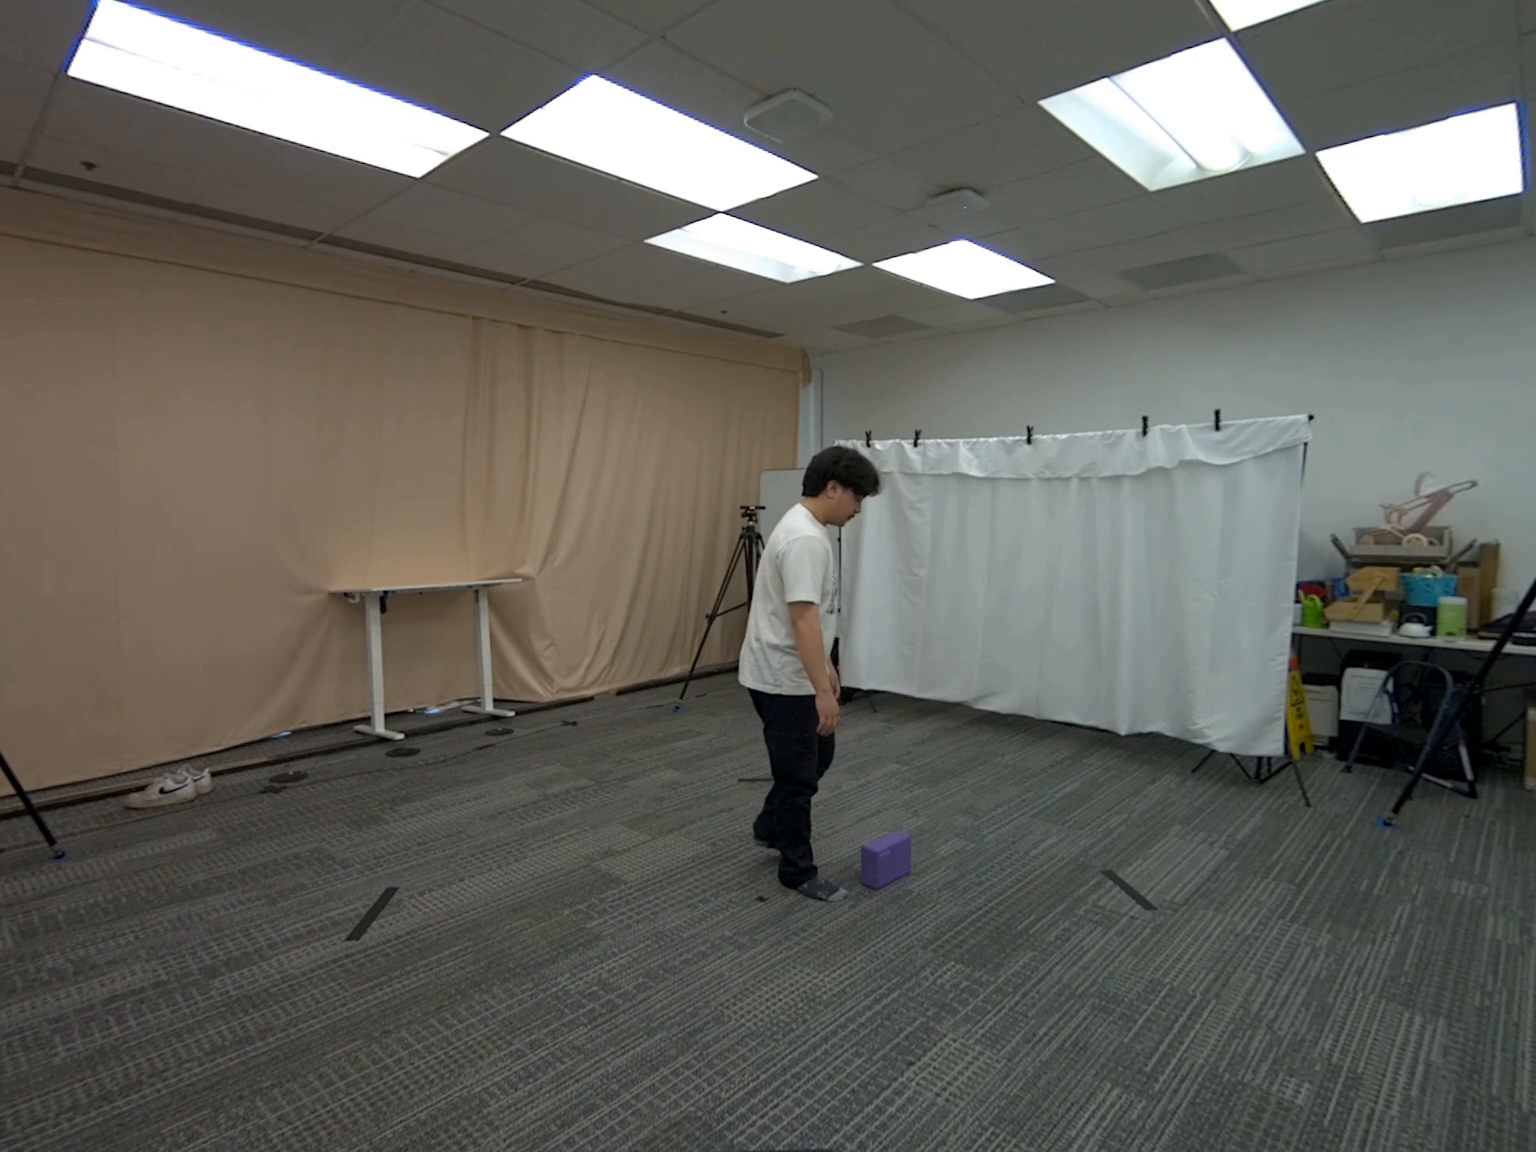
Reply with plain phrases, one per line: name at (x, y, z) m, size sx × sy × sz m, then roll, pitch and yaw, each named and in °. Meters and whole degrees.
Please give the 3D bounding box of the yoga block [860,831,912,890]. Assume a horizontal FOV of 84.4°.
yoga block at (0.449, 1.055, 3.135) m, size 0.222 × 0.149 × 0.079 m, roll -3°, pitch 5°, yaw -44°
